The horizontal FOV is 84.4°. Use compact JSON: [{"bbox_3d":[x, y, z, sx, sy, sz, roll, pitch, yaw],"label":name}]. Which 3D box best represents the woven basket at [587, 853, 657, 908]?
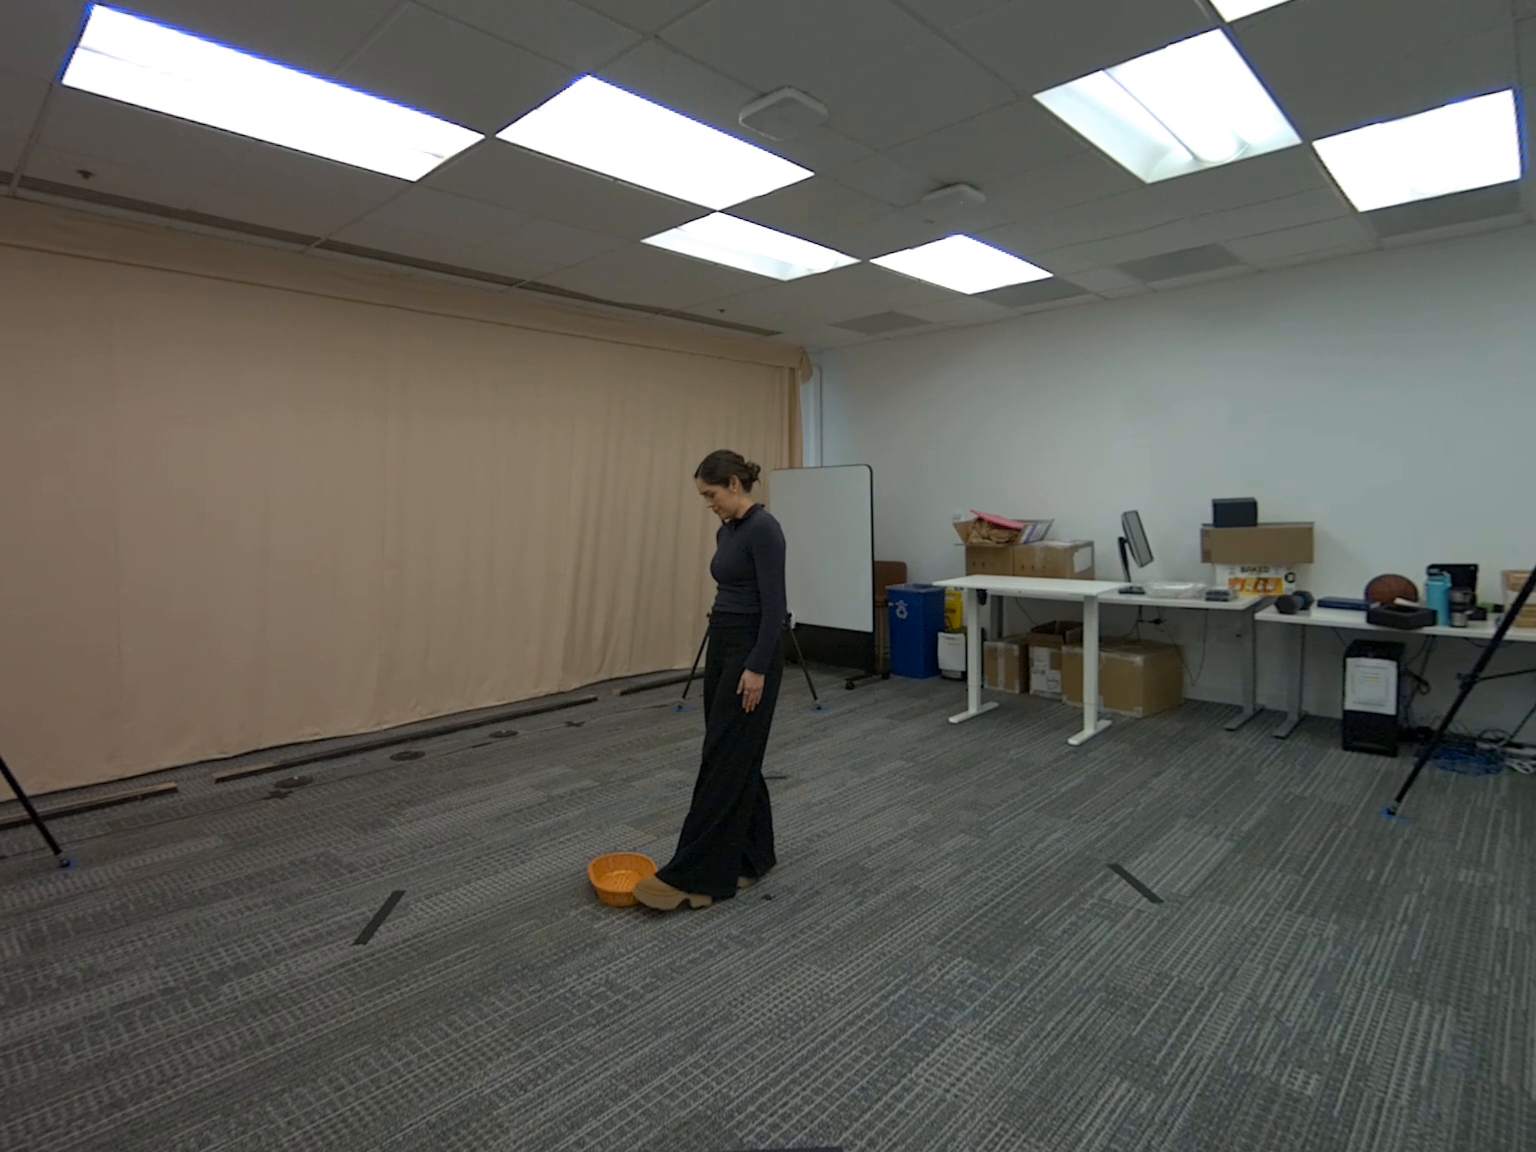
[{"bbox_3d":[-0.529,1.105,3.070,0.248,0.073,0.357,-1,4,-17],"label":"woven basket"}]
